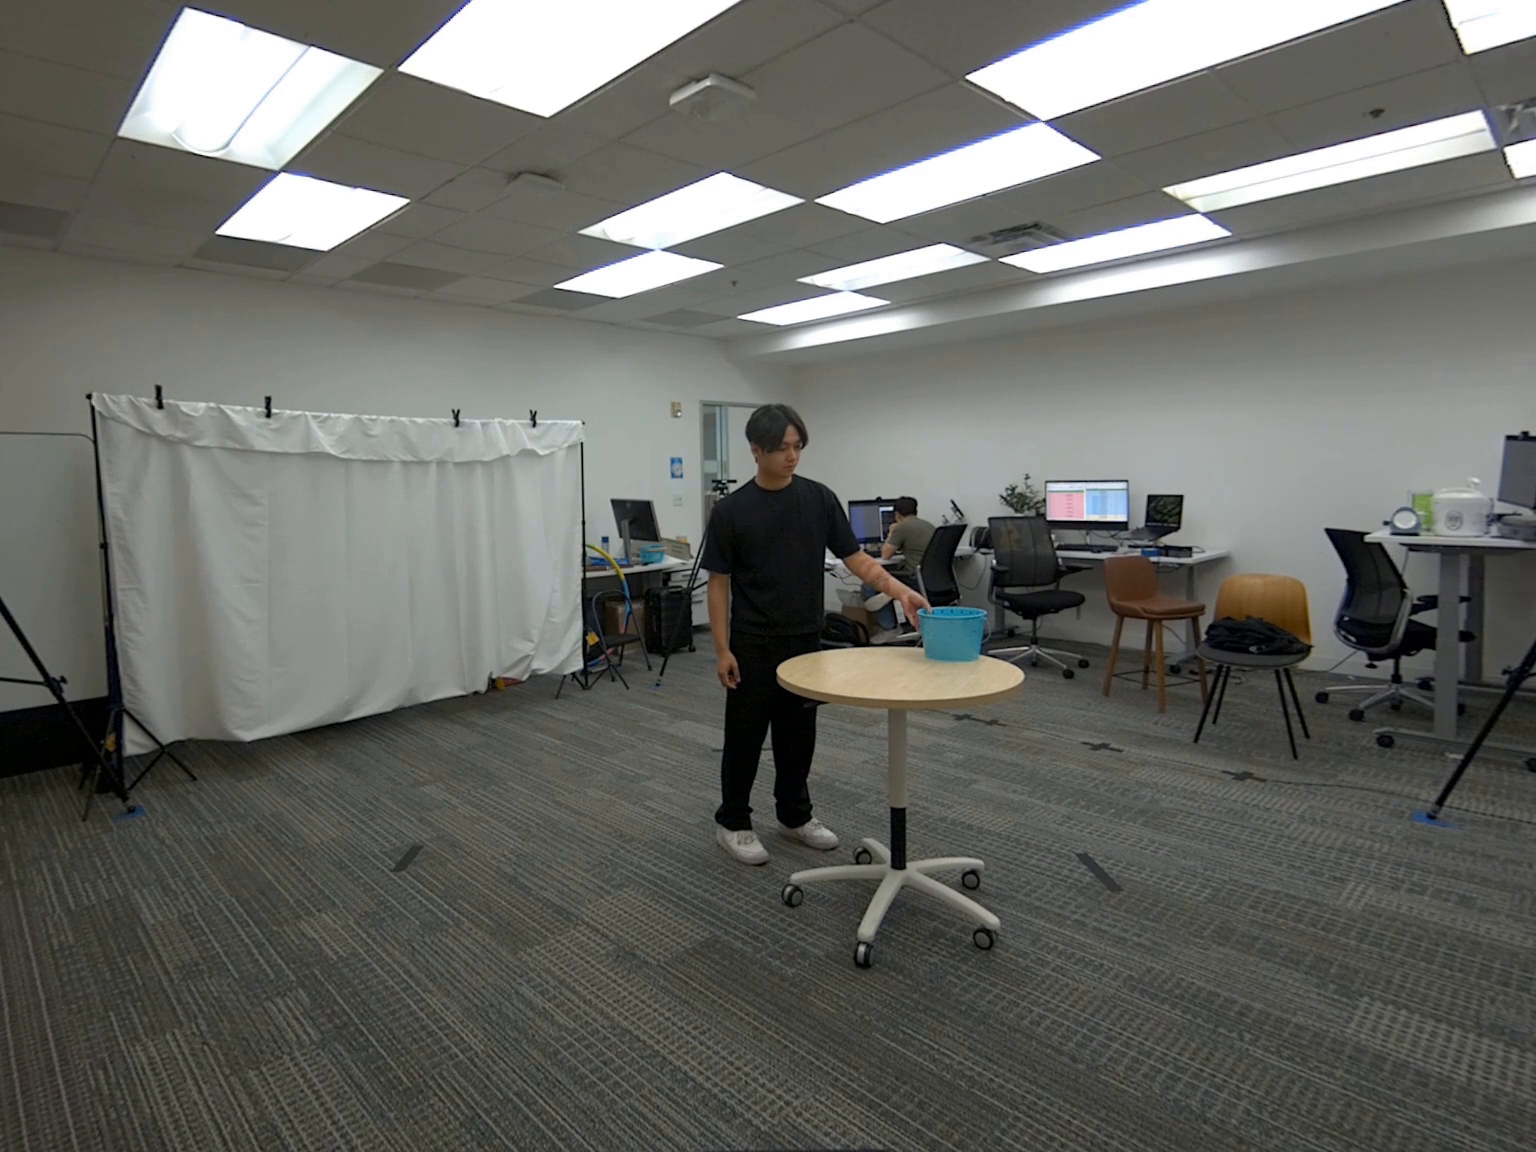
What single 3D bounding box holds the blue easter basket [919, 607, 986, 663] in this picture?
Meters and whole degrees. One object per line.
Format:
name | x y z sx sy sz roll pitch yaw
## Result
blue easter basket | 0.652 0.205 2.898 0.243 0.155 0.245 -2 6 -2
